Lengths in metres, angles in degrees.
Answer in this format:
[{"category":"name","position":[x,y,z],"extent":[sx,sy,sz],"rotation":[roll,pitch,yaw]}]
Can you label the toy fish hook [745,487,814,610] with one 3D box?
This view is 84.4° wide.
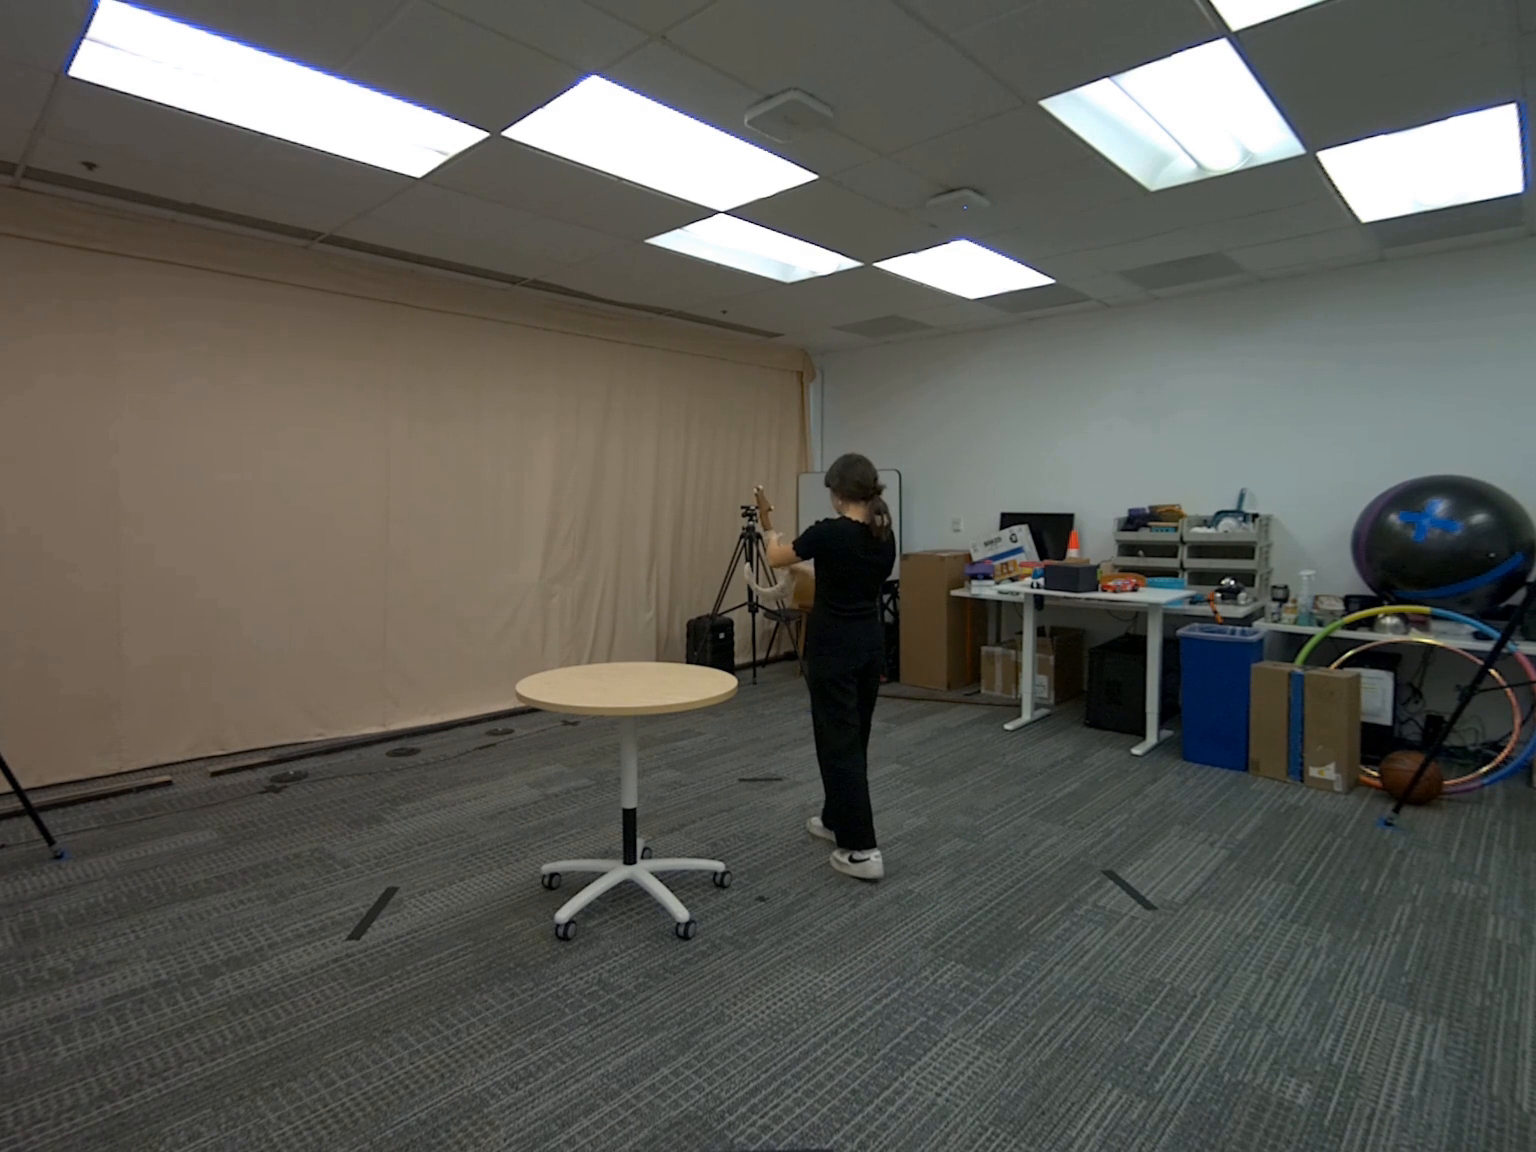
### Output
[{"category":"toy fish hook","position":[-0.012,-0.137,3.679],"extent":[0.220,0.506,0.049],"rotation":[-16,1,-22]}]
